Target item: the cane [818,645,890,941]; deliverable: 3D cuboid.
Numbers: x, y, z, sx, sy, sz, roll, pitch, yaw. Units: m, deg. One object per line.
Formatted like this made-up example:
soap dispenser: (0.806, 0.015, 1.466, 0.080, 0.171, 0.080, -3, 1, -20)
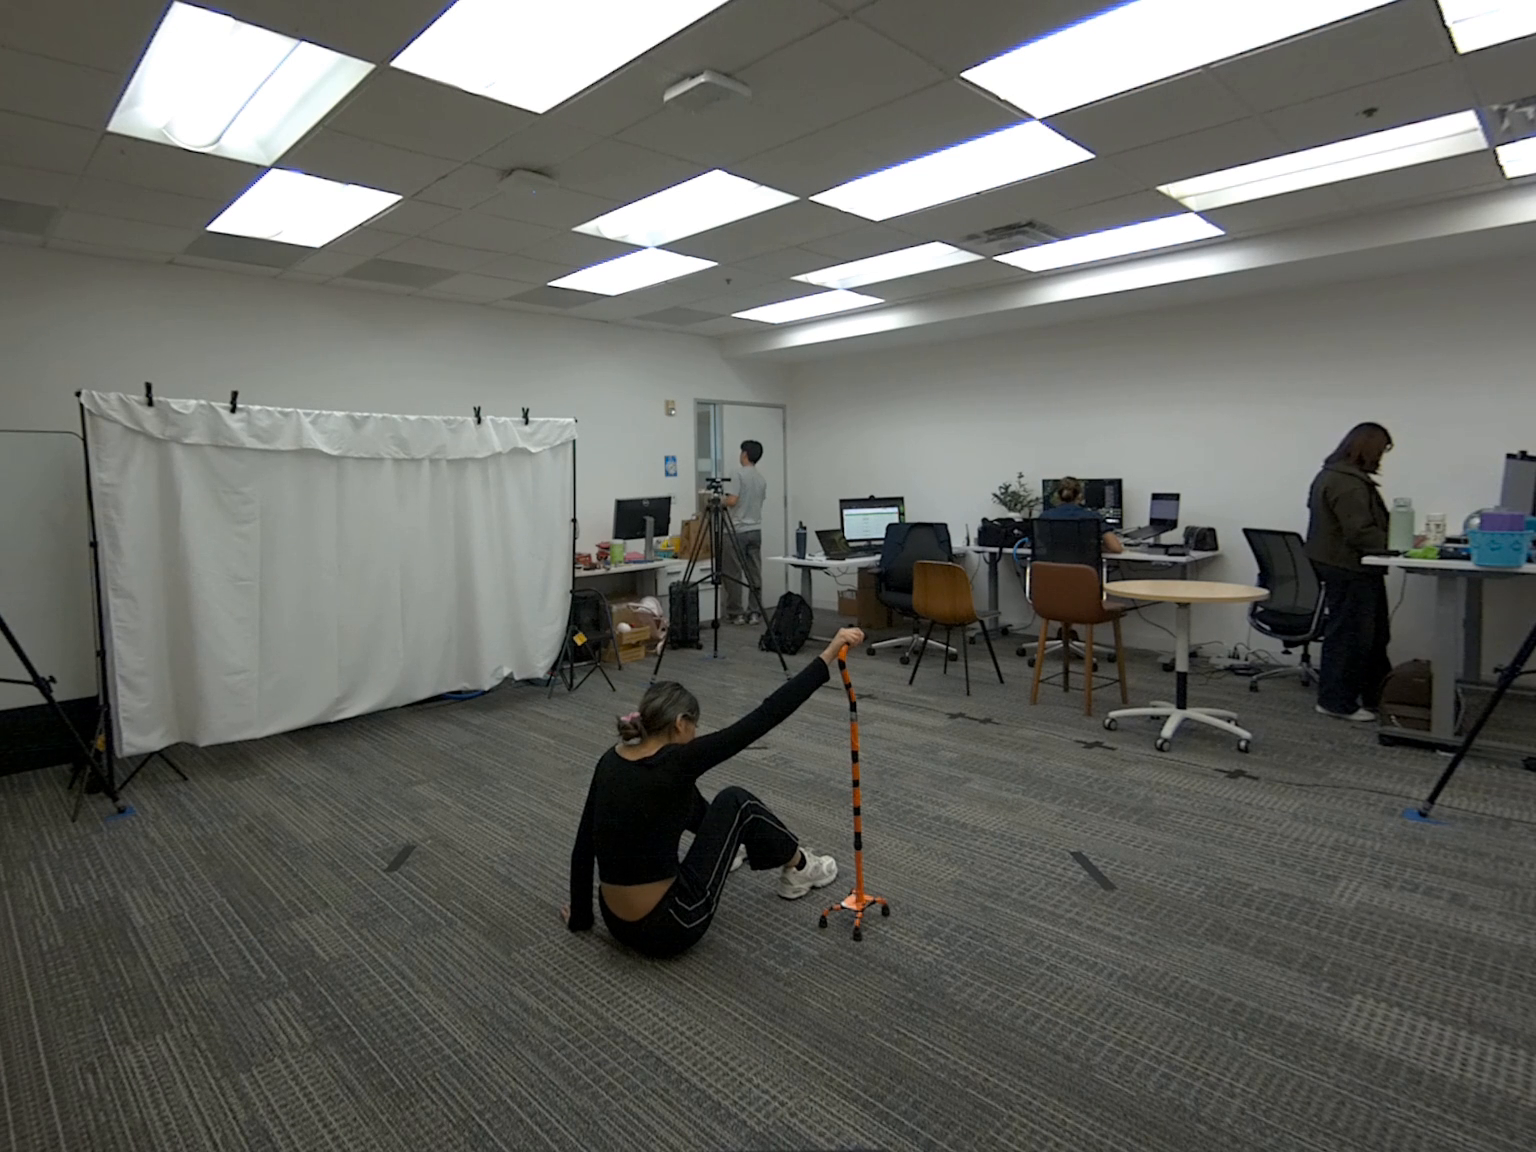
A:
cane: (0.258, 0.627, 2.646, 0.156, 0.904, 0.201, 2, 6, 37)
